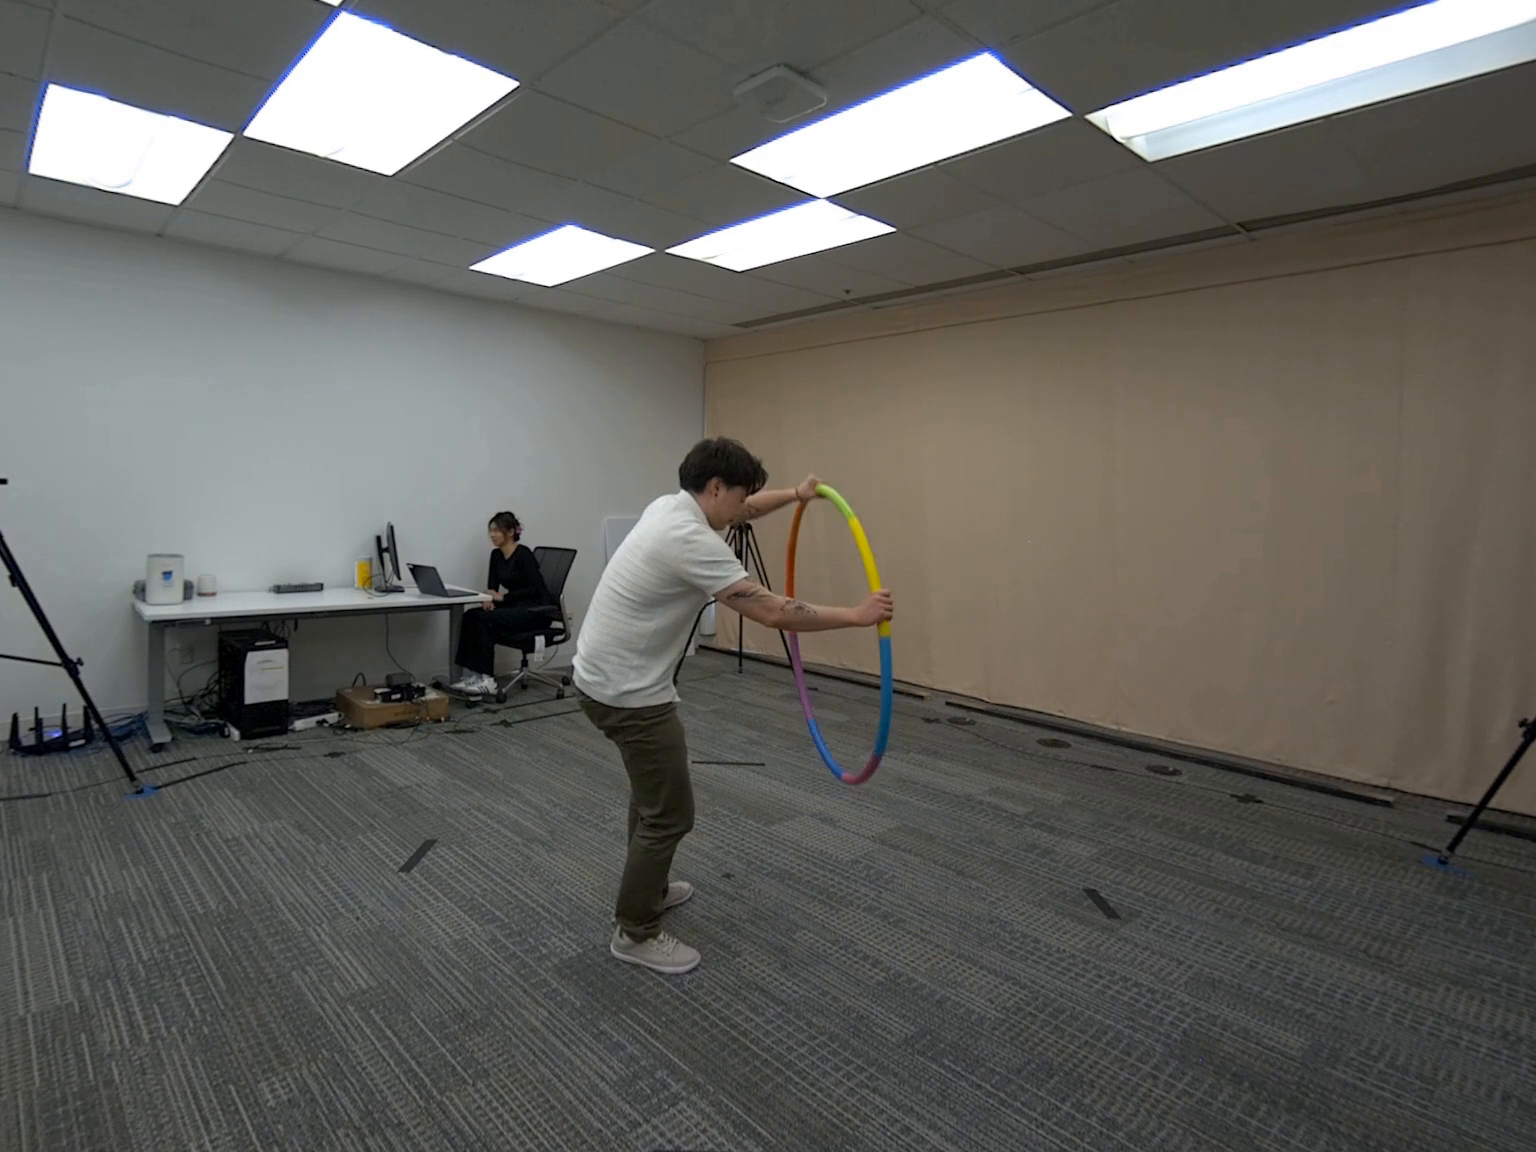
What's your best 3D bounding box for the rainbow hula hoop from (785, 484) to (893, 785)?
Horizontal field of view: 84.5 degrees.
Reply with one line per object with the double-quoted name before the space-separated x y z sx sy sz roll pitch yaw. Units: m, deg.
"rainbow hula hoop" 0.200 0.189 2.813 0.035 0.974 0.991 -7 6 -13
